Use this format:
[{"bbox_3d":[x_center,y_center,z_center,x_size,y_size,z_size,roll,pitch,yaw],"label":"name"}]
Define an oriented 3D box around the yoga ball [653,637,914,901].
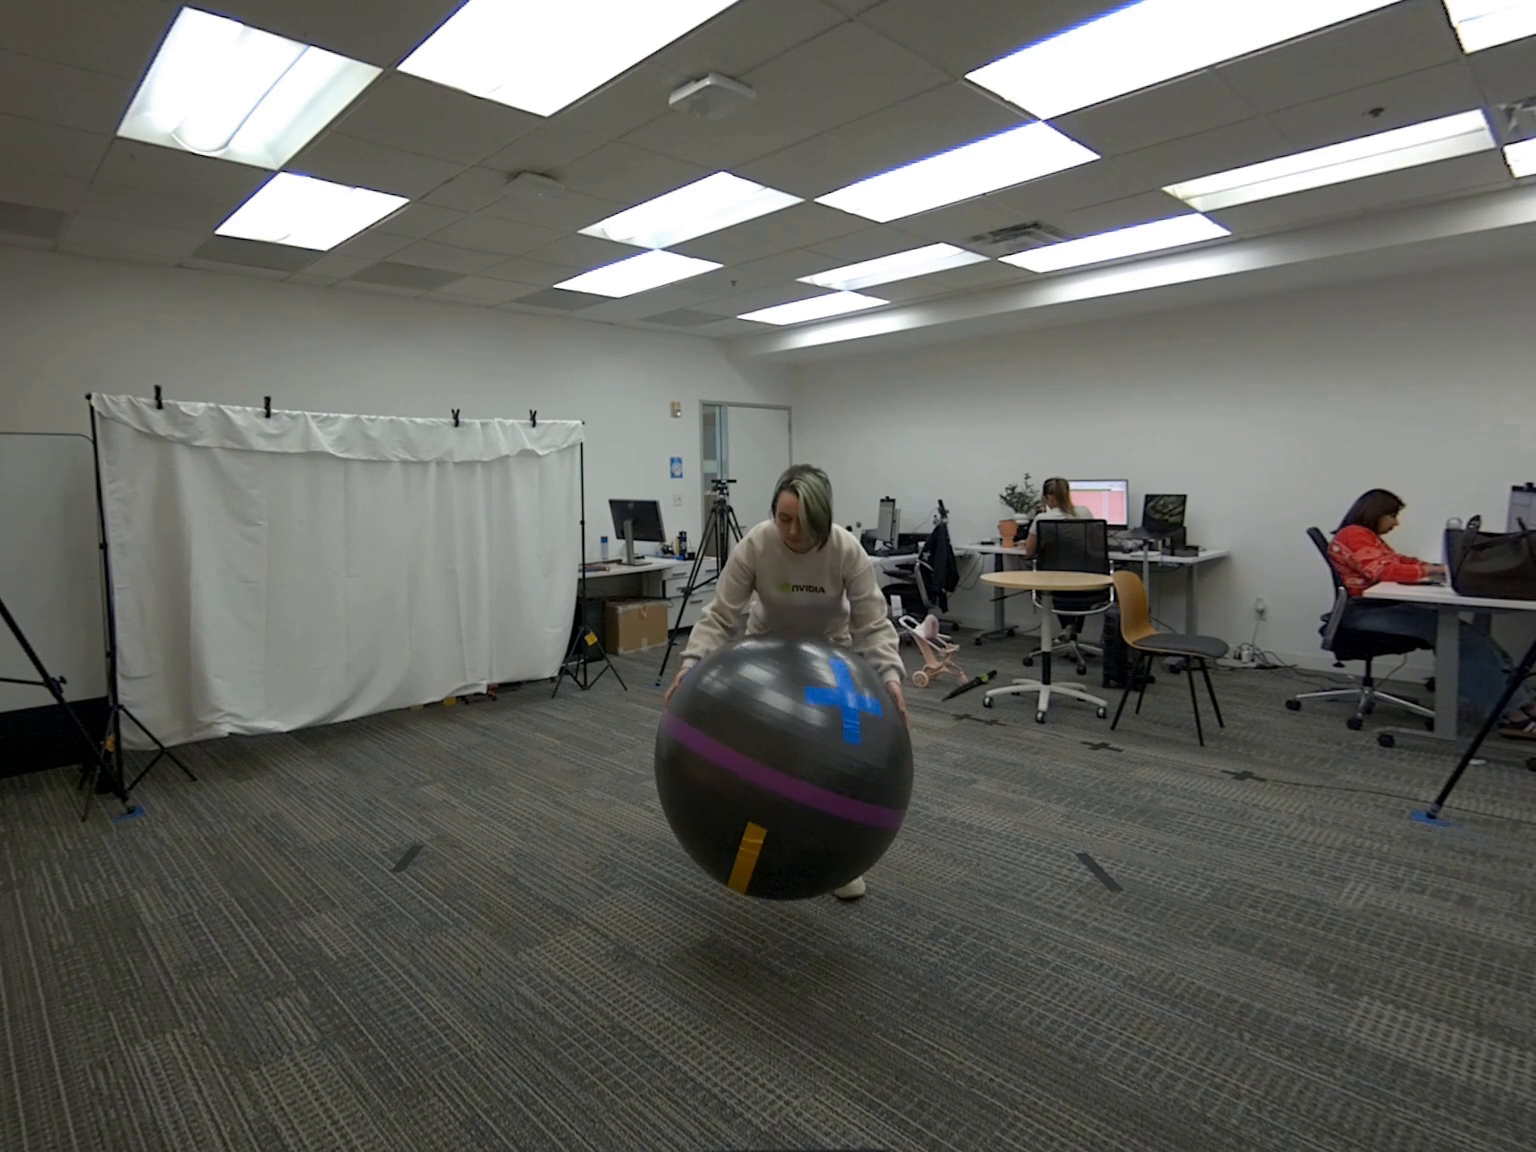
[{"bbox_3d":[0.042,0.542,2.509,0.757,0.755,0.762,-1,5,-2],"label":"yoga ball"}]
